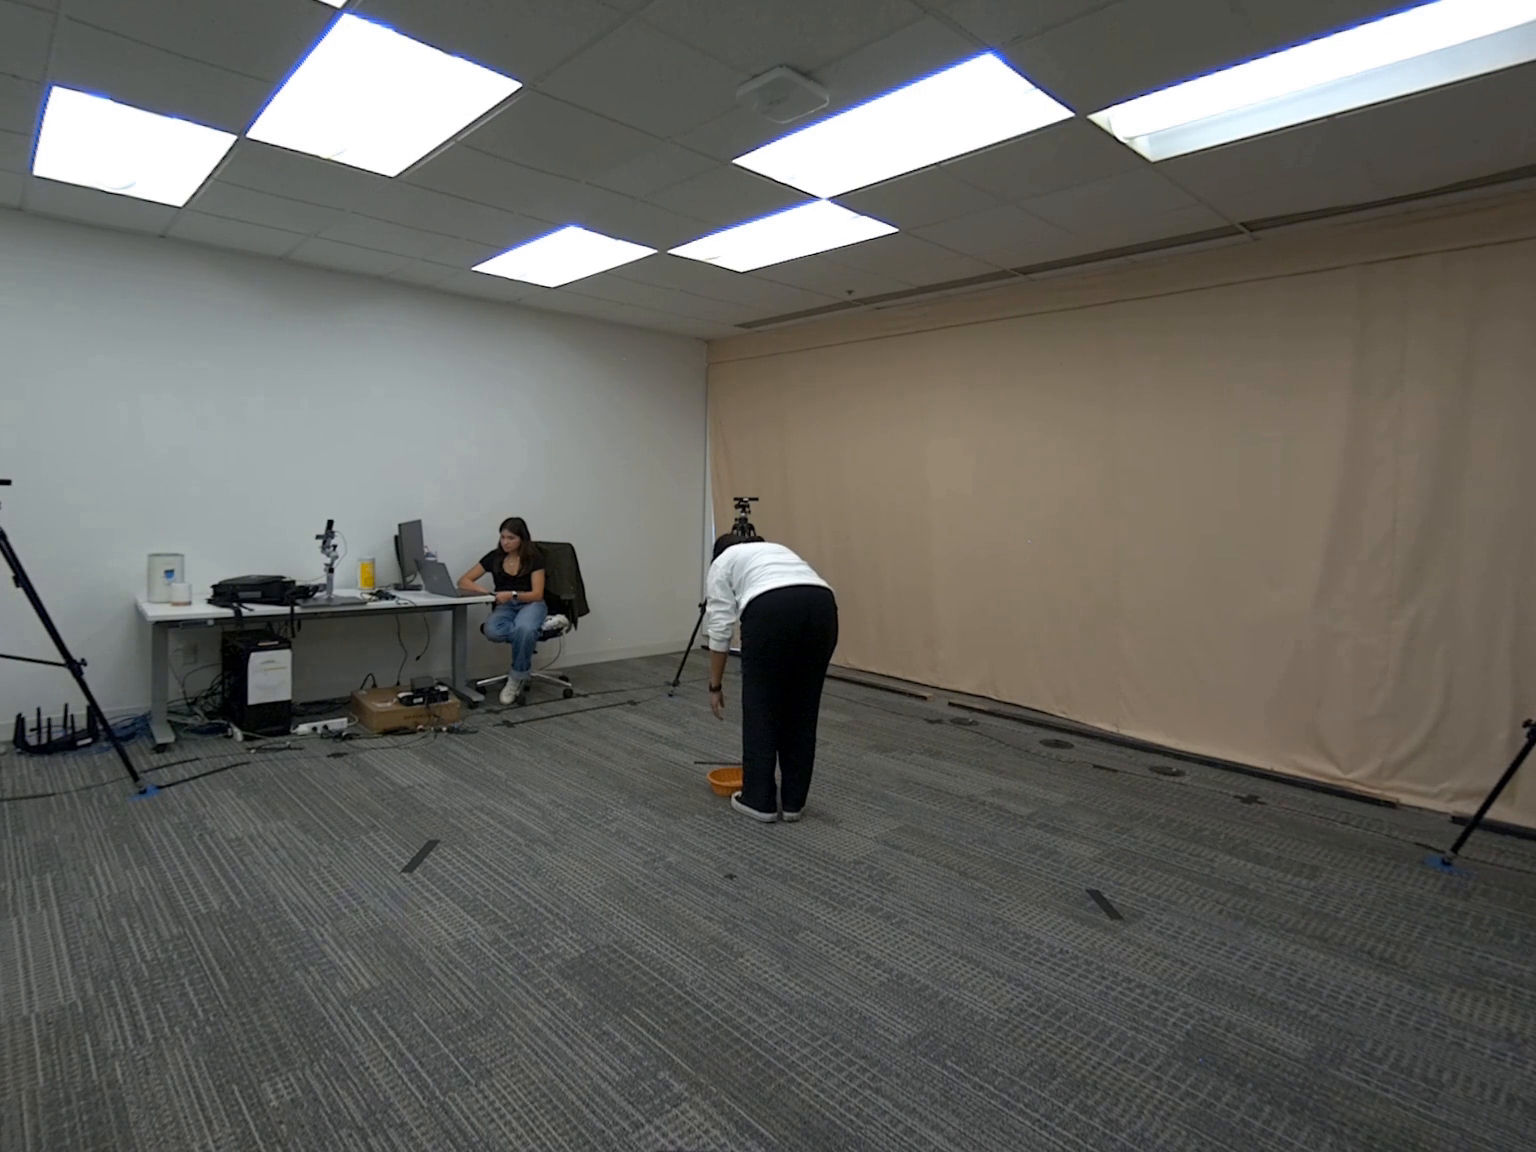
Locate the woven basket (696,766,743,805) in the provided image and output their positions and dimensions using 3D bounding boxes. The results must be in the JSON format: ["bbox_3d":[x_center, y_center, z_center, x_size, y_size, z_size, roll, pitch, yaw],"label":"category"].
[{"bbox_3d":[-0.133,0.993,4.049,0.344,0.073,0.258,0,6,-24],"label":"woven basket"}]
